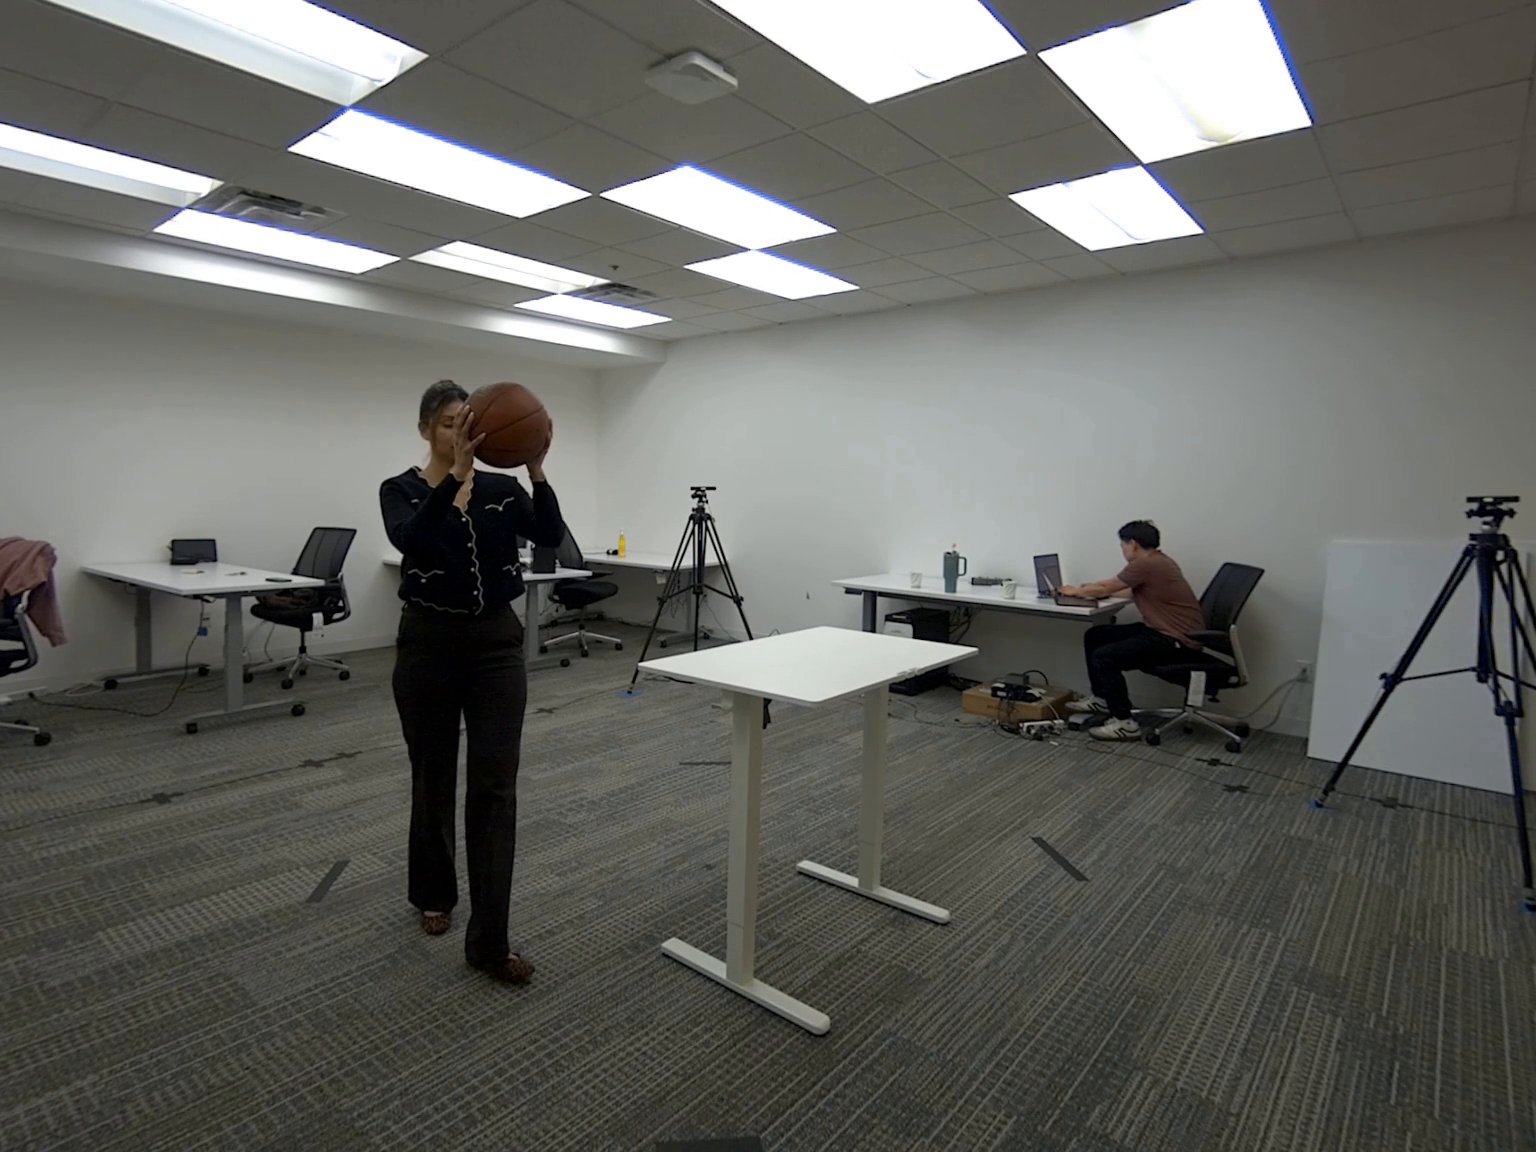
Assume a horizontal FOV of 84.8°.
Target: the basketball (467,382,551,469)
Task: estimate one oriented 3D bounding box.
[{"bbox_3d":[-0.718,-0.415,2.304,0.235,0.235,0.237,1,4,-2],"label":"basketball"}]
